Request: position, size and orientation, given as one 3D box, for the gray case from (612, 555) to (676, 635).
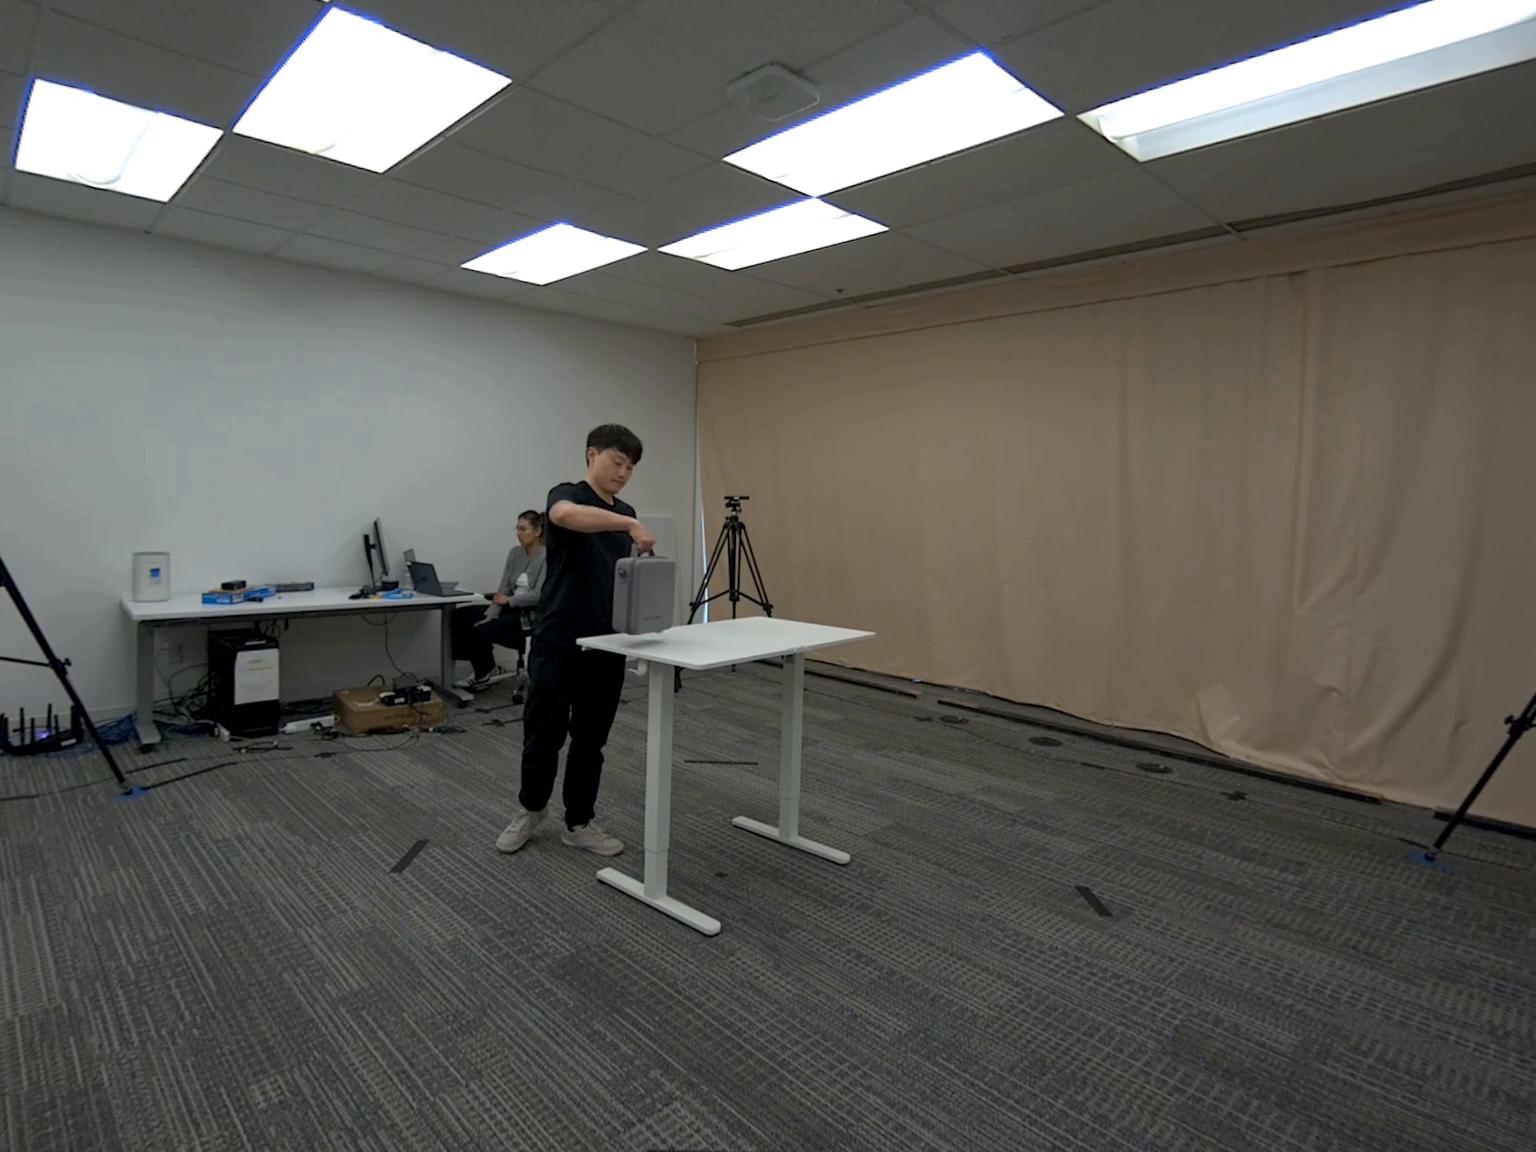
[{"bbox_3d":[-0.426,0.060,2.852,0.106,0.260,0.252,3,1,25],"label":"gray case"}]
